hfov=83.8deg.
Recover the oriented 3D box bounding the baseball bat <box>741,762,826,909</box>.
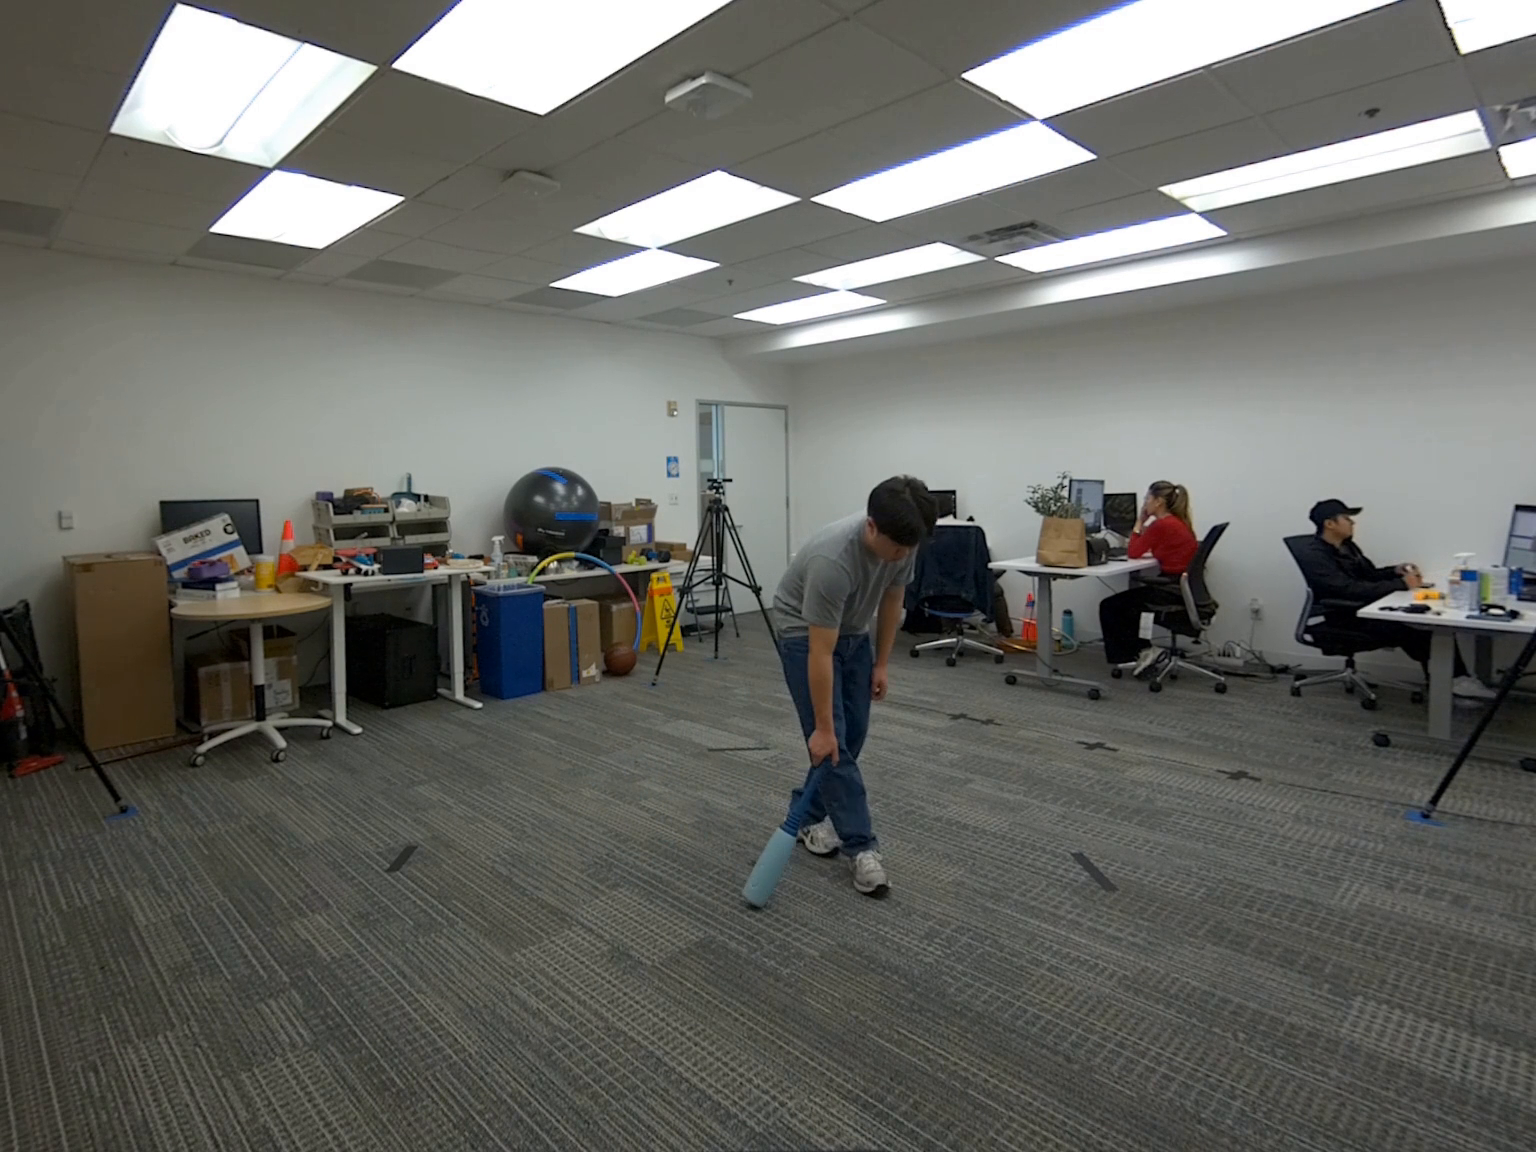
[{"bbox_3d":[0.080,0.837,2.819,0.089,0.544,0.088,28,-7,2],"label":"baseball bat"}]
